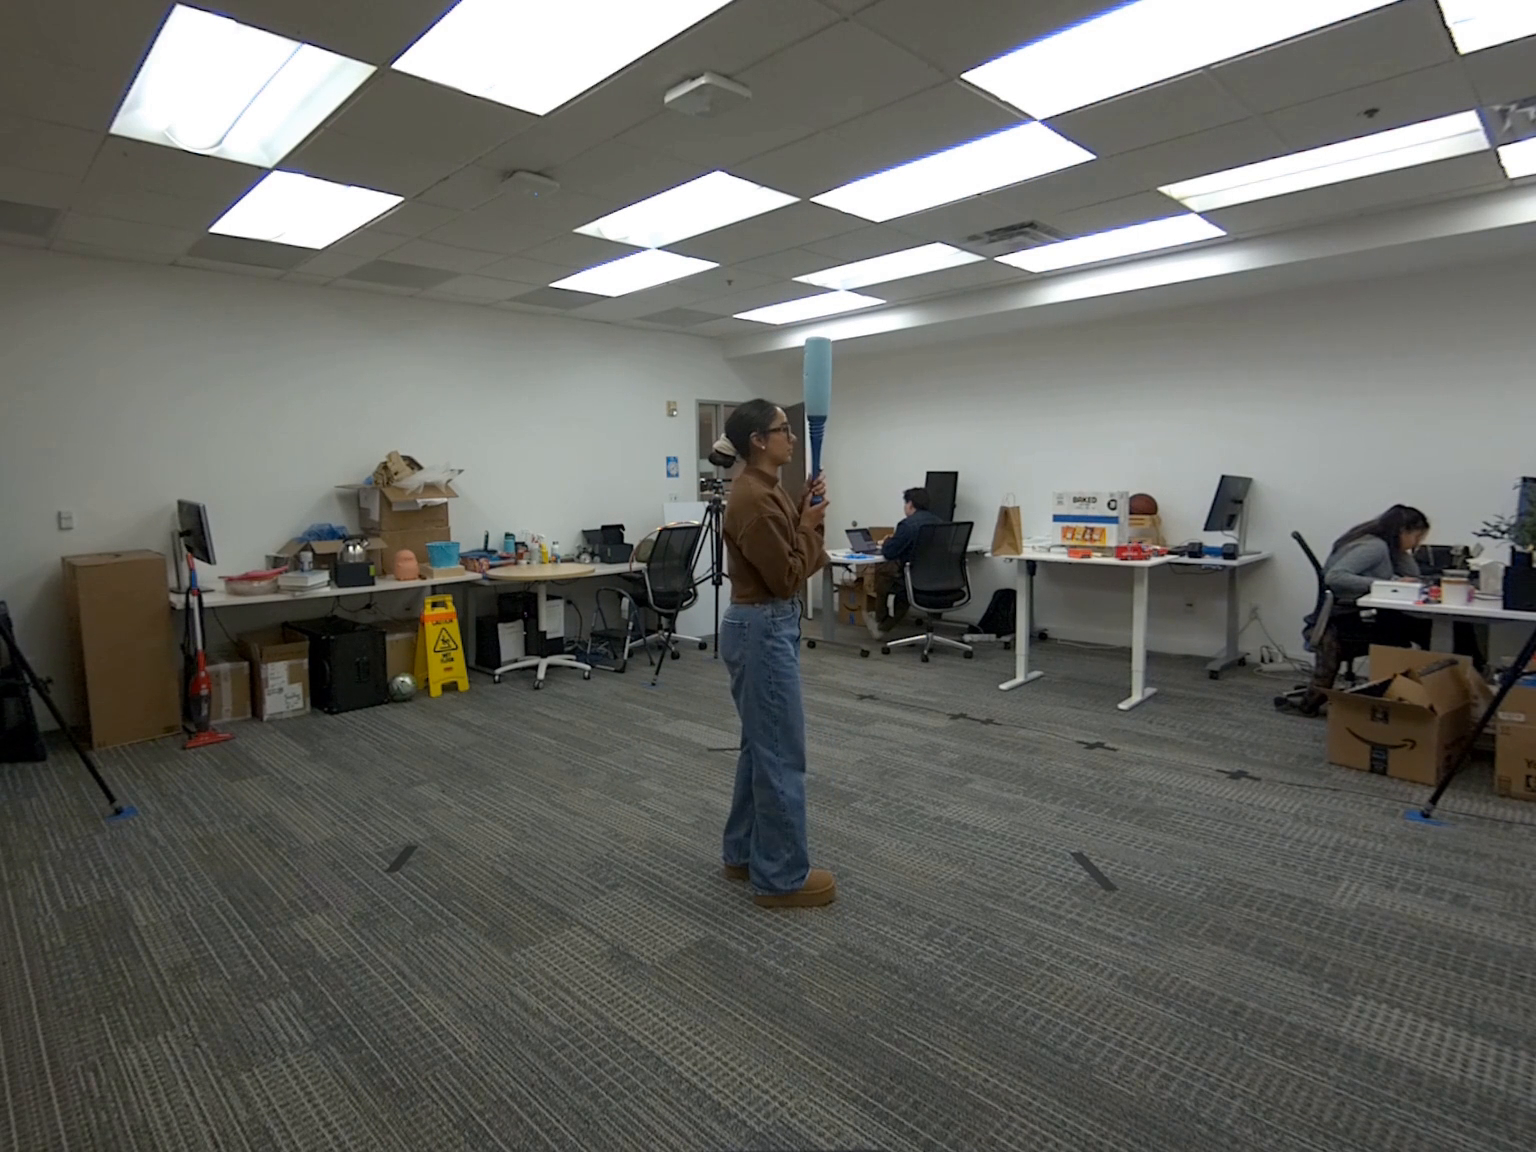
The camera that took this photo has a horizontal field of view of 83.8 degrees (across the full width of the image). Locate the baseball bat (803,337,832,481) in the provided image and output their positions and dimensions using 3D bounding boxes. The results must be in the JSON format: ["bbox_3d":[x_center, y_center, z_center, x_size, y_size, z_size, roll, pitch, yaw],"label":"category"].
[{"bbox_3d":[0.160,-0.503,2.768,0.089,0.539,0.090,0,7,-2],"label":"baseball bat"}]
